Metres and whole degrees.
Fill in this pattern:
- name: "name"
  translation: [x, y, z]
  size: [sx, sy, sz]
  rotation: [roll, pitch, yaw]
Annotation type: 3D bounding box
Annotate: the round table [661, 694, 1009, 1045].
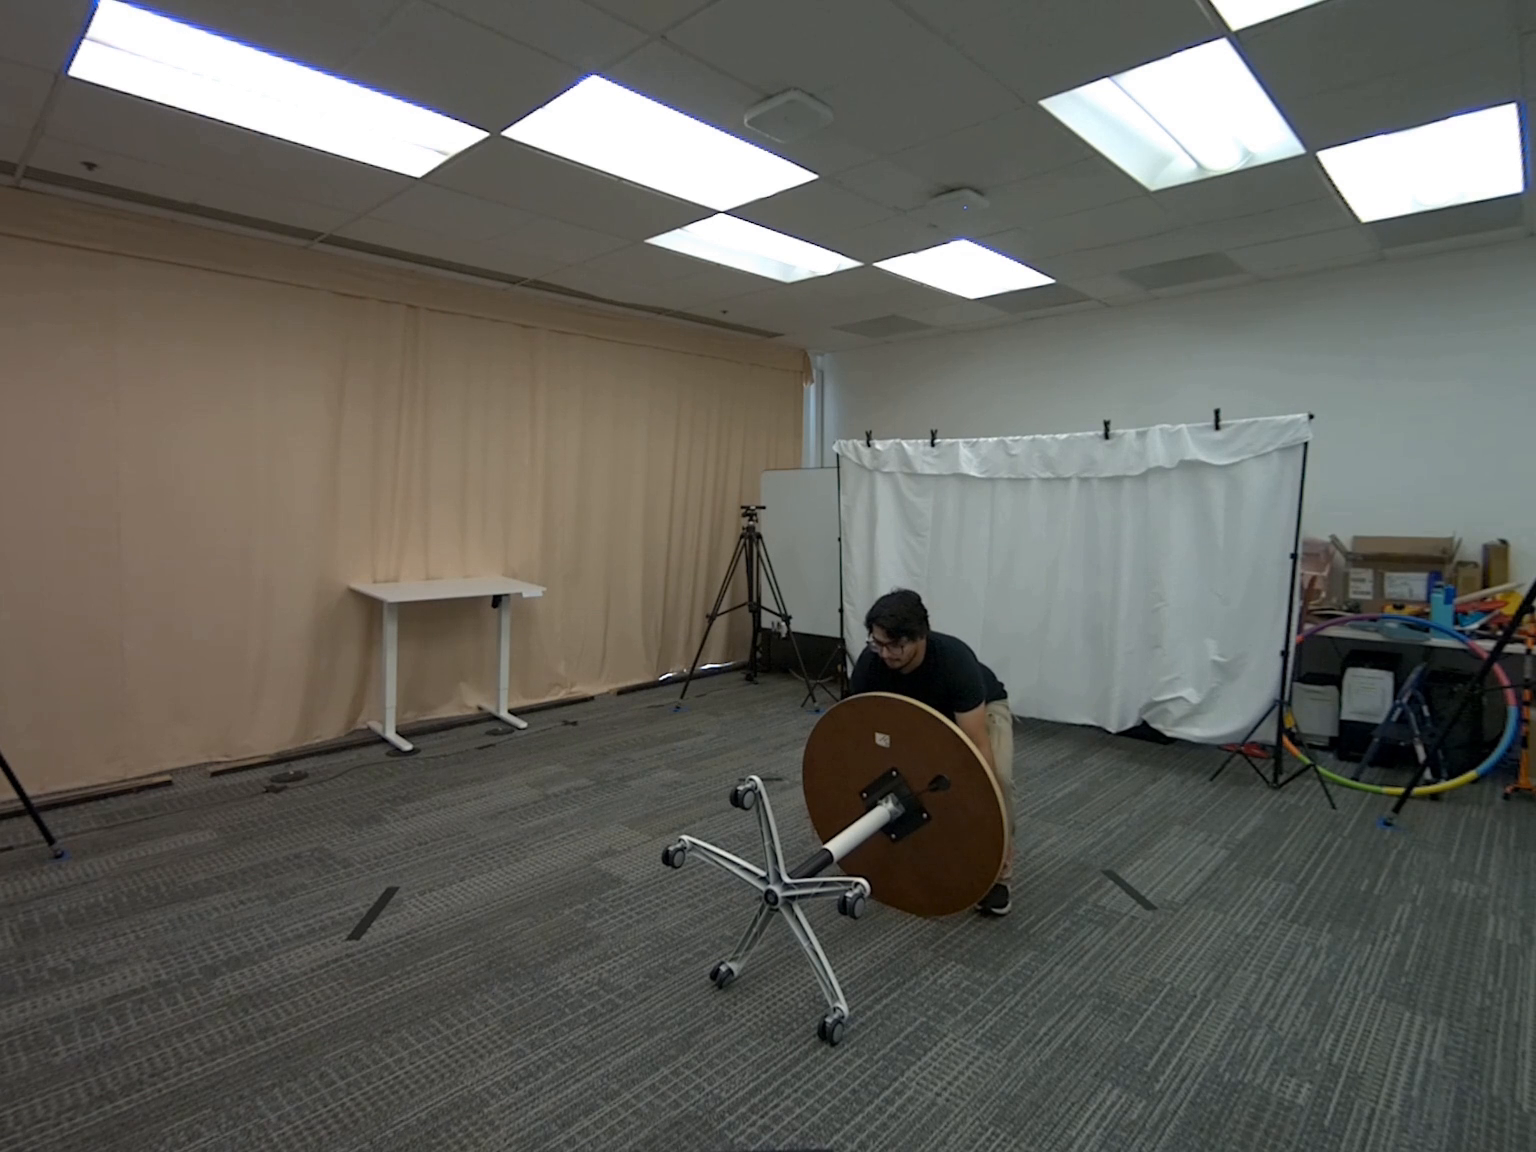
- name: "round table"
  translation: [0.201, 0.845, 2.572]
  size: [0.811, 0.780, 0.766]
  rotation: [3, 12, 40]
